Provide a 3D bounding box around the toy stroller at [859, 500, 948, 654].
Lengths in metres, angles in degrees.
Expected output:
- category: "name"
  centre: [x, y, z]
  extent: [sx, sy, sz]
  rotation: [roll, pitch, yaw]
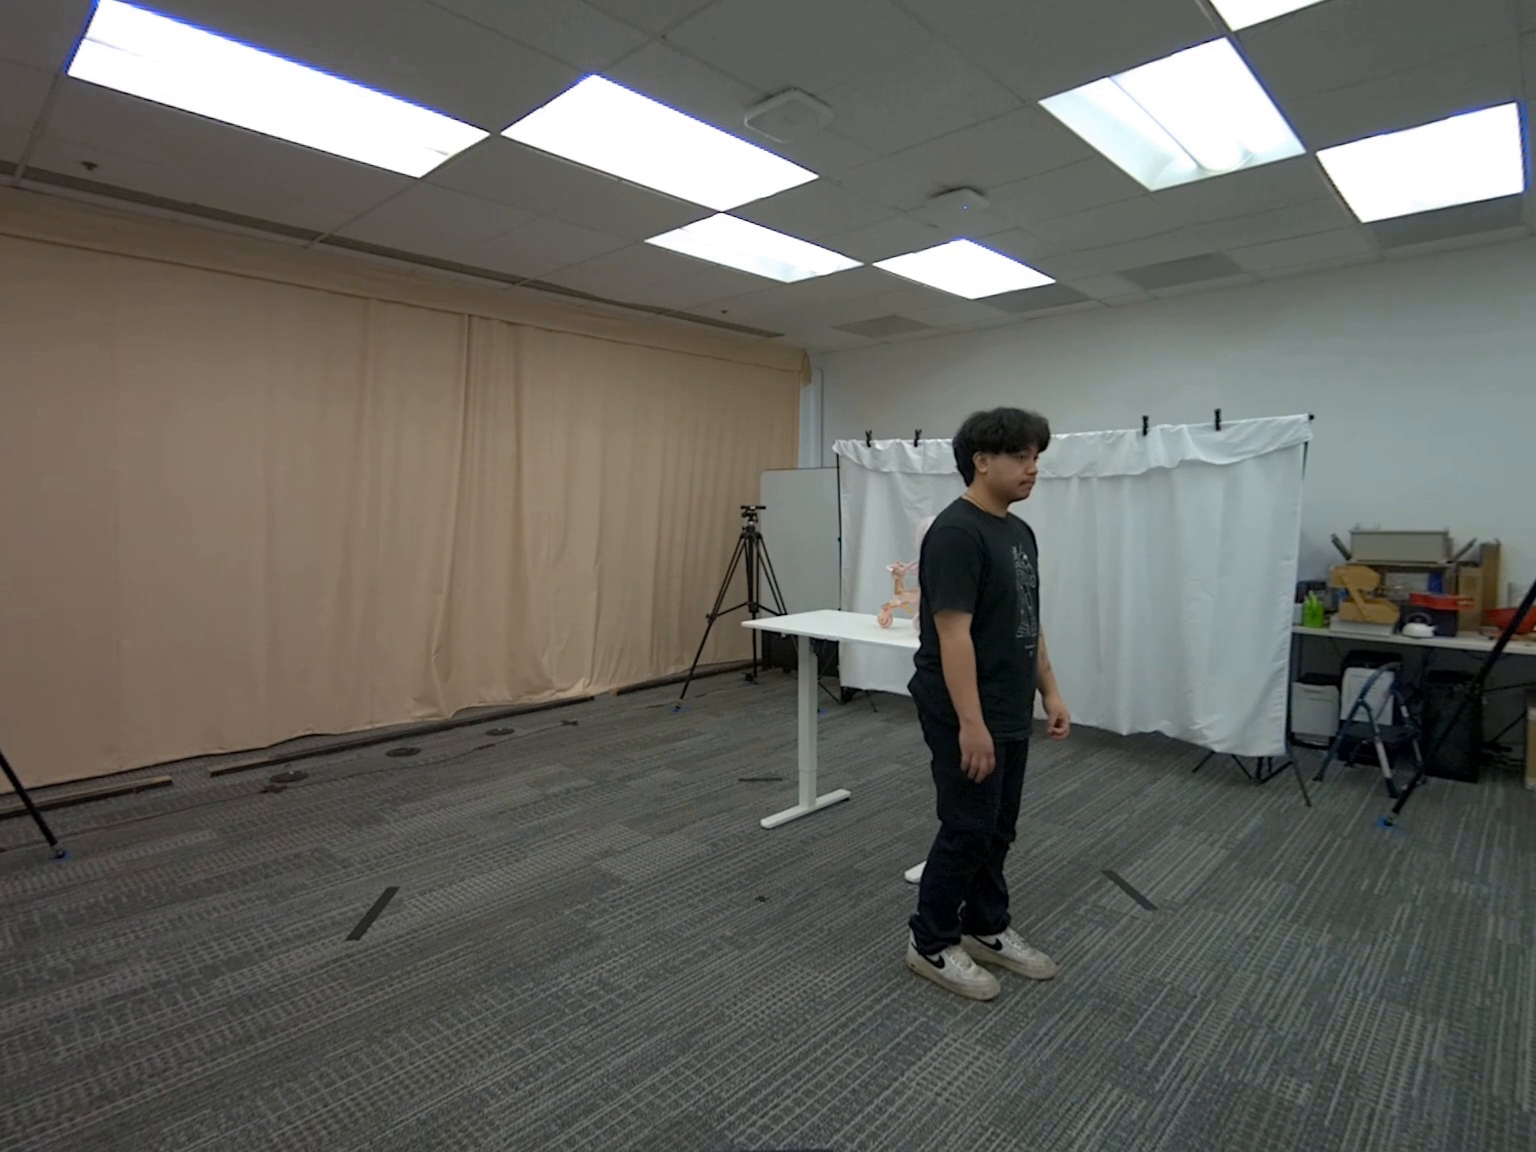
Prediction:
- category: "toy stroller"
  centre: [0.642, 0.002, 3.374]
  extent: [0.273, 0.532, 0.354]
  rotation: [-3, 20, -46]
